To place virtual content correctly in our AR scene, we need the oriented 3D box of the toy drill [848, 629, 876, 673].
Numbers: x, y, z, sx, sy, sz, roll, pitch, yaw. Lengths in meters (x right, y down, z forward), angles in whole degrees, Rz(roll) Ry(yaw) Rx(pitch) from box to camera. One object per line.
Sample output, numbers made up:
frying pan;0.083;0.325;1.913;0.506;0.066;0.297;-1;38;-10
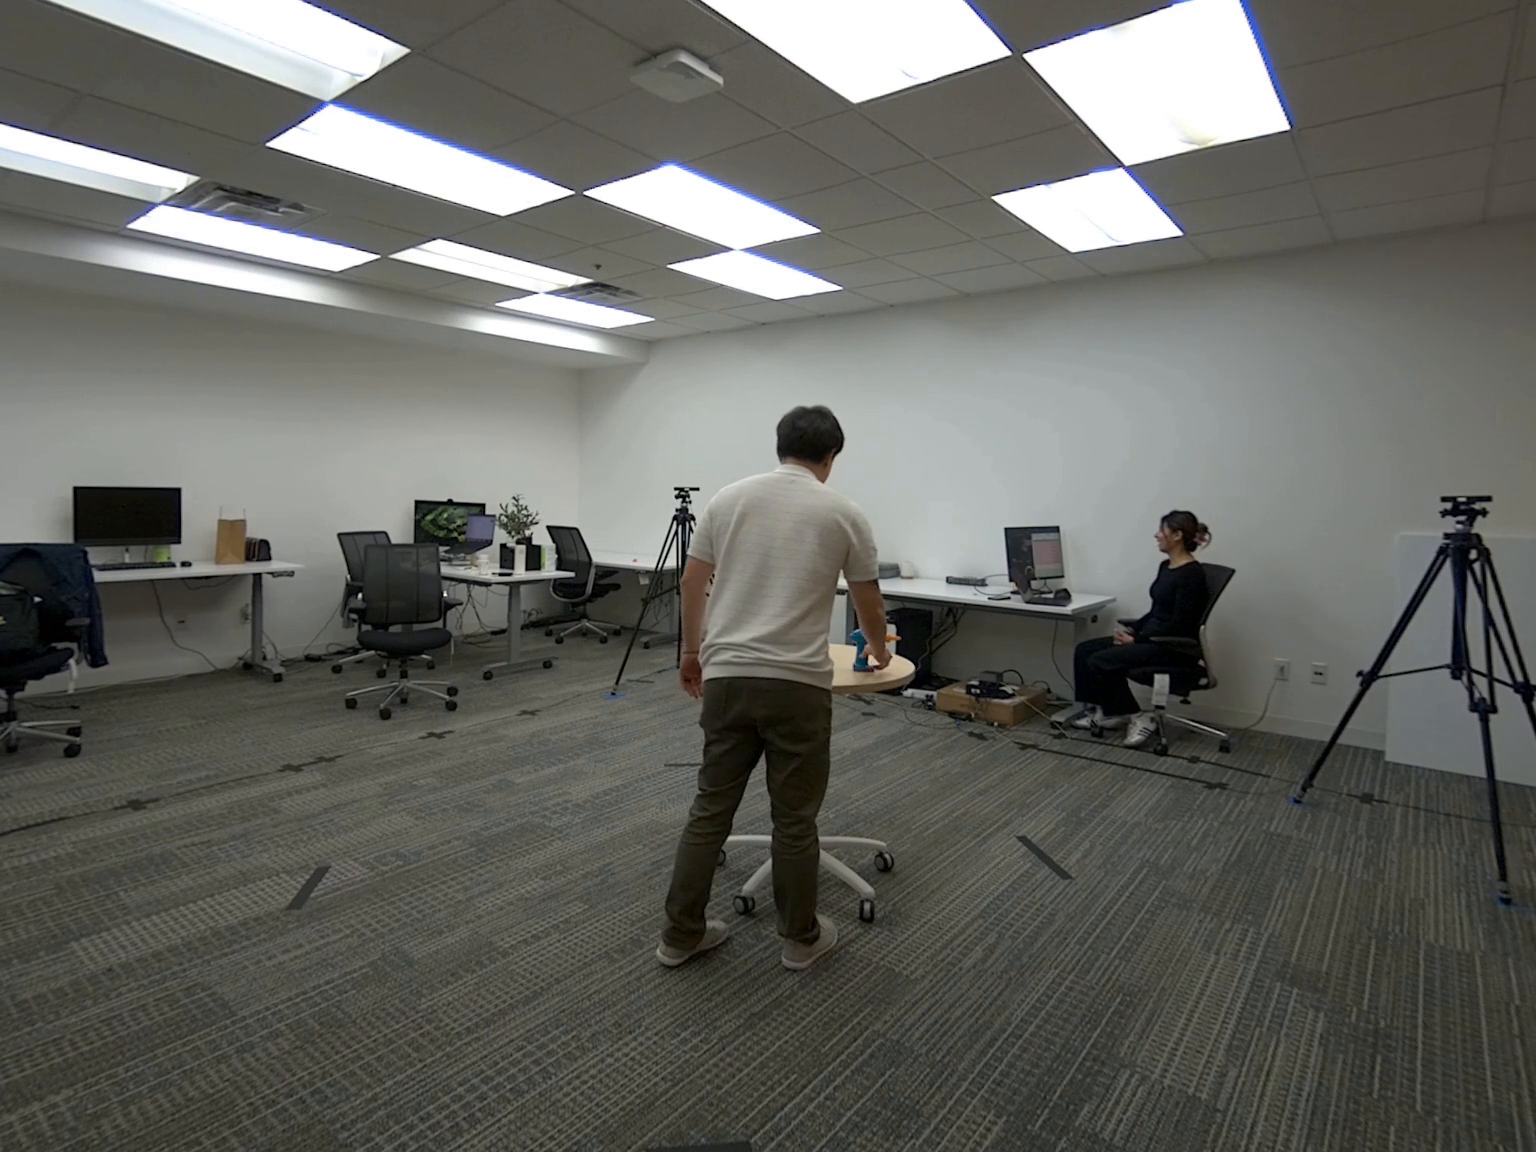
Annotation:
toy drill;0.349;0.243;2.868;0.169;0.145;0.061;0;4;-3
